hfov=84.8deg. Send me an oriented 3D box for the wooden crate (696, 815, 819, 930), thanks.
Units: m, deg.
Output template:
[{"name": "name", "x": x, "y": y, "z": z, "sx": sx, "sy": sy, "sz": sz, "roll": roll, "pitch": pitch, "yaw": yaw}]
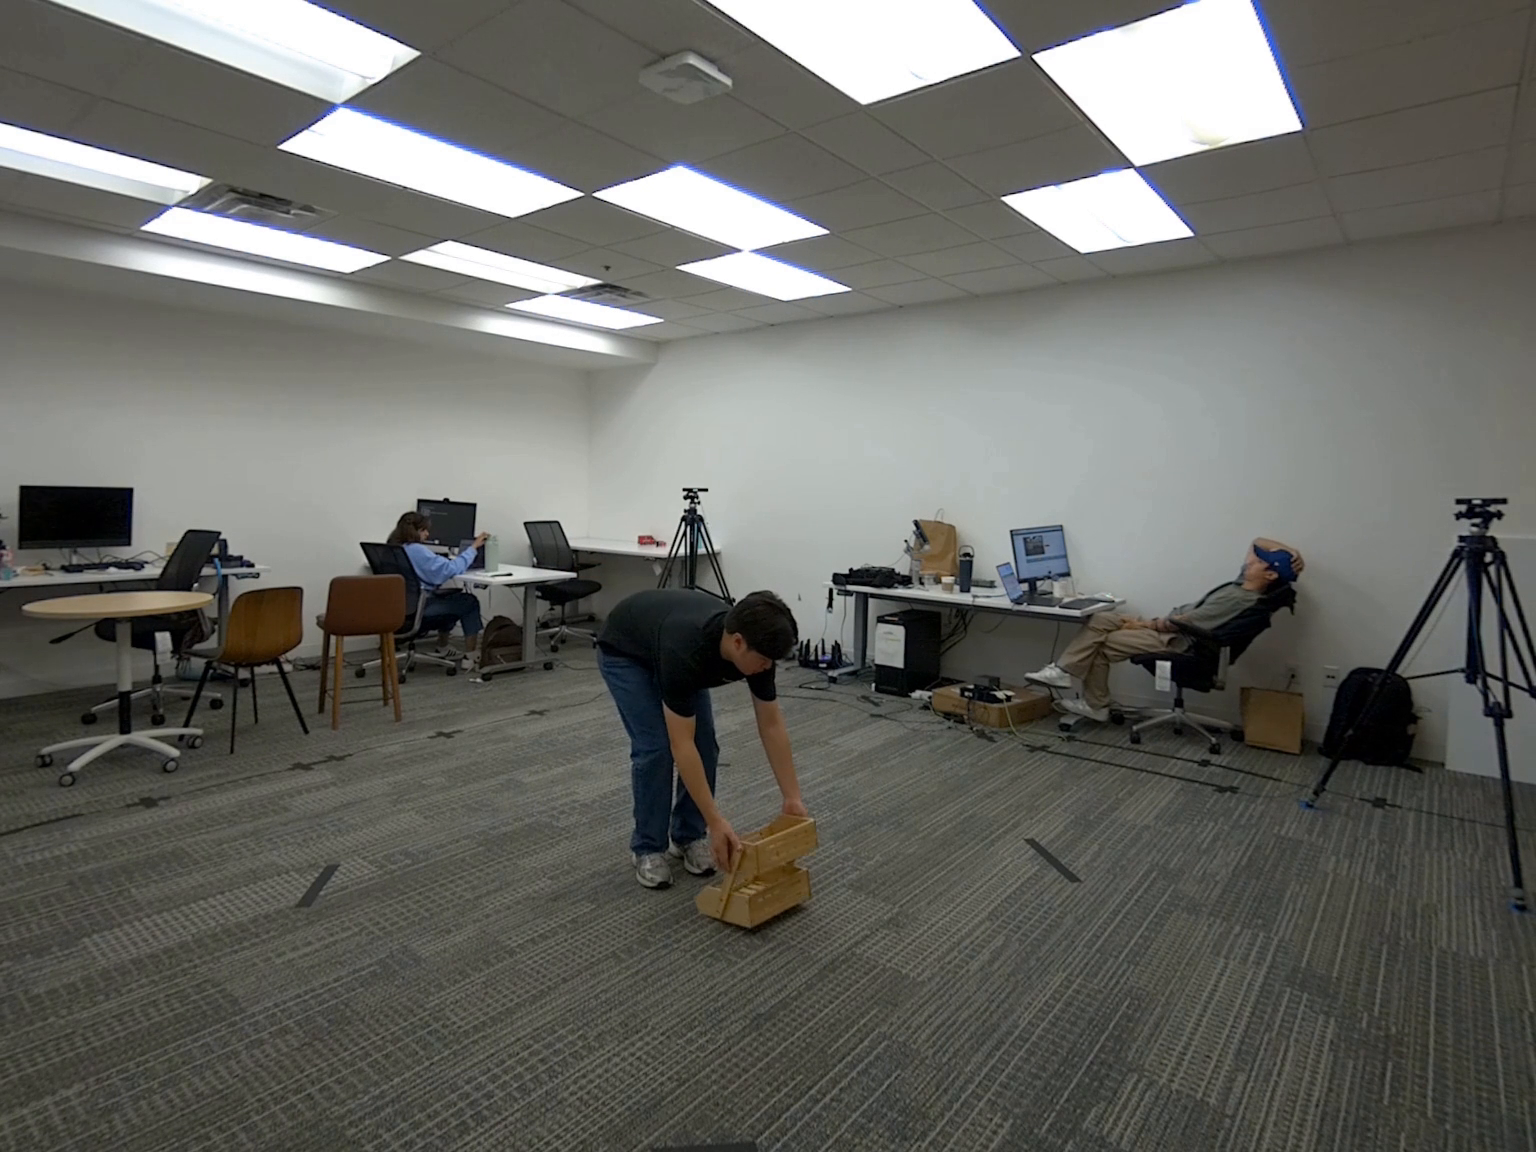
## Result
[{"name": "wooden crate", "x": -0.048, "y": 0.948, "z": 2.810, "sx": 0.310, "sy": 0.274, "sz": 0.314, "roll": -6, "pitch": -2, "yaw": 43}]
